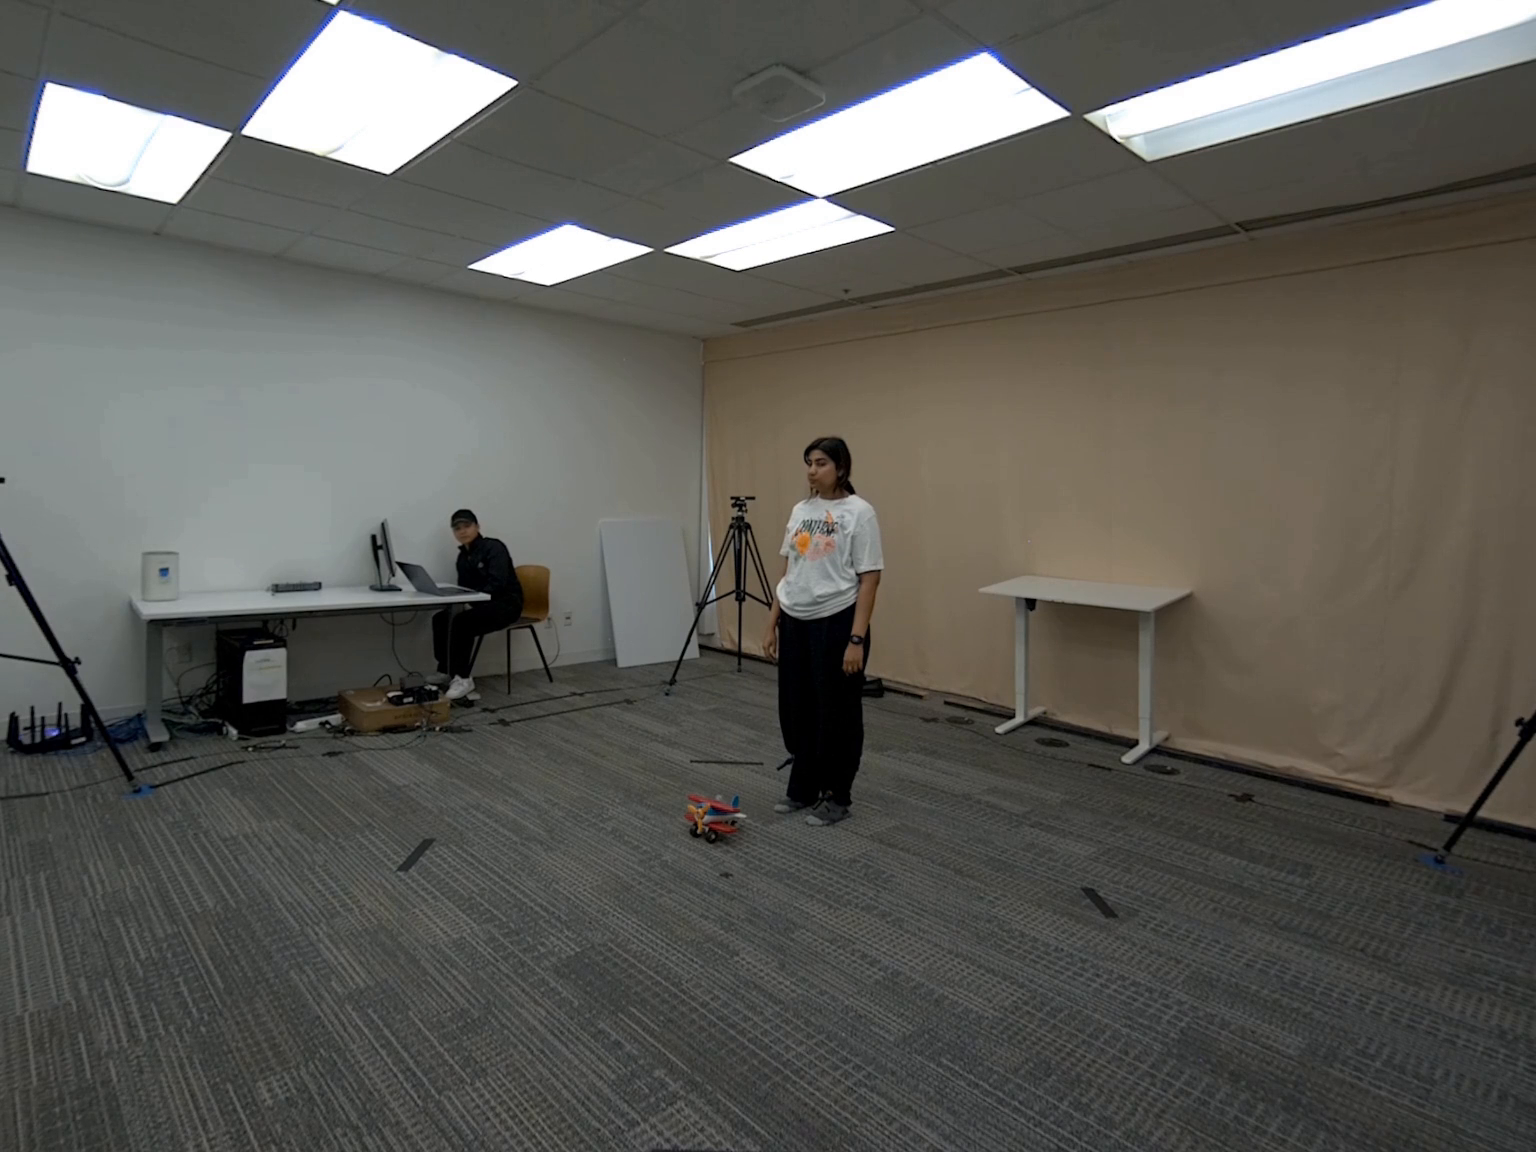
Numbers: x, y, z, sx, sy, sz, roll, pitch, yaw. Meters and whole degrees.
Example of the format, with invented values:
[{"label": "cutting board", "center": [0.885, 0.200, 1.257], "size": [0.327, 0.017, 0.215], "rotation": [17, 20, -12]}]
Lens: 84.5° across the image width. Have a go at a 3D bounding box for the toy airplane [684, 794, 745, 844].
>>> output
[{"label": "toy airplane", "center": [-0.234, 0.990, 3.496], "size": [0.253, 0.156, 0.258], "rotation": [1, 5, 10]}]
